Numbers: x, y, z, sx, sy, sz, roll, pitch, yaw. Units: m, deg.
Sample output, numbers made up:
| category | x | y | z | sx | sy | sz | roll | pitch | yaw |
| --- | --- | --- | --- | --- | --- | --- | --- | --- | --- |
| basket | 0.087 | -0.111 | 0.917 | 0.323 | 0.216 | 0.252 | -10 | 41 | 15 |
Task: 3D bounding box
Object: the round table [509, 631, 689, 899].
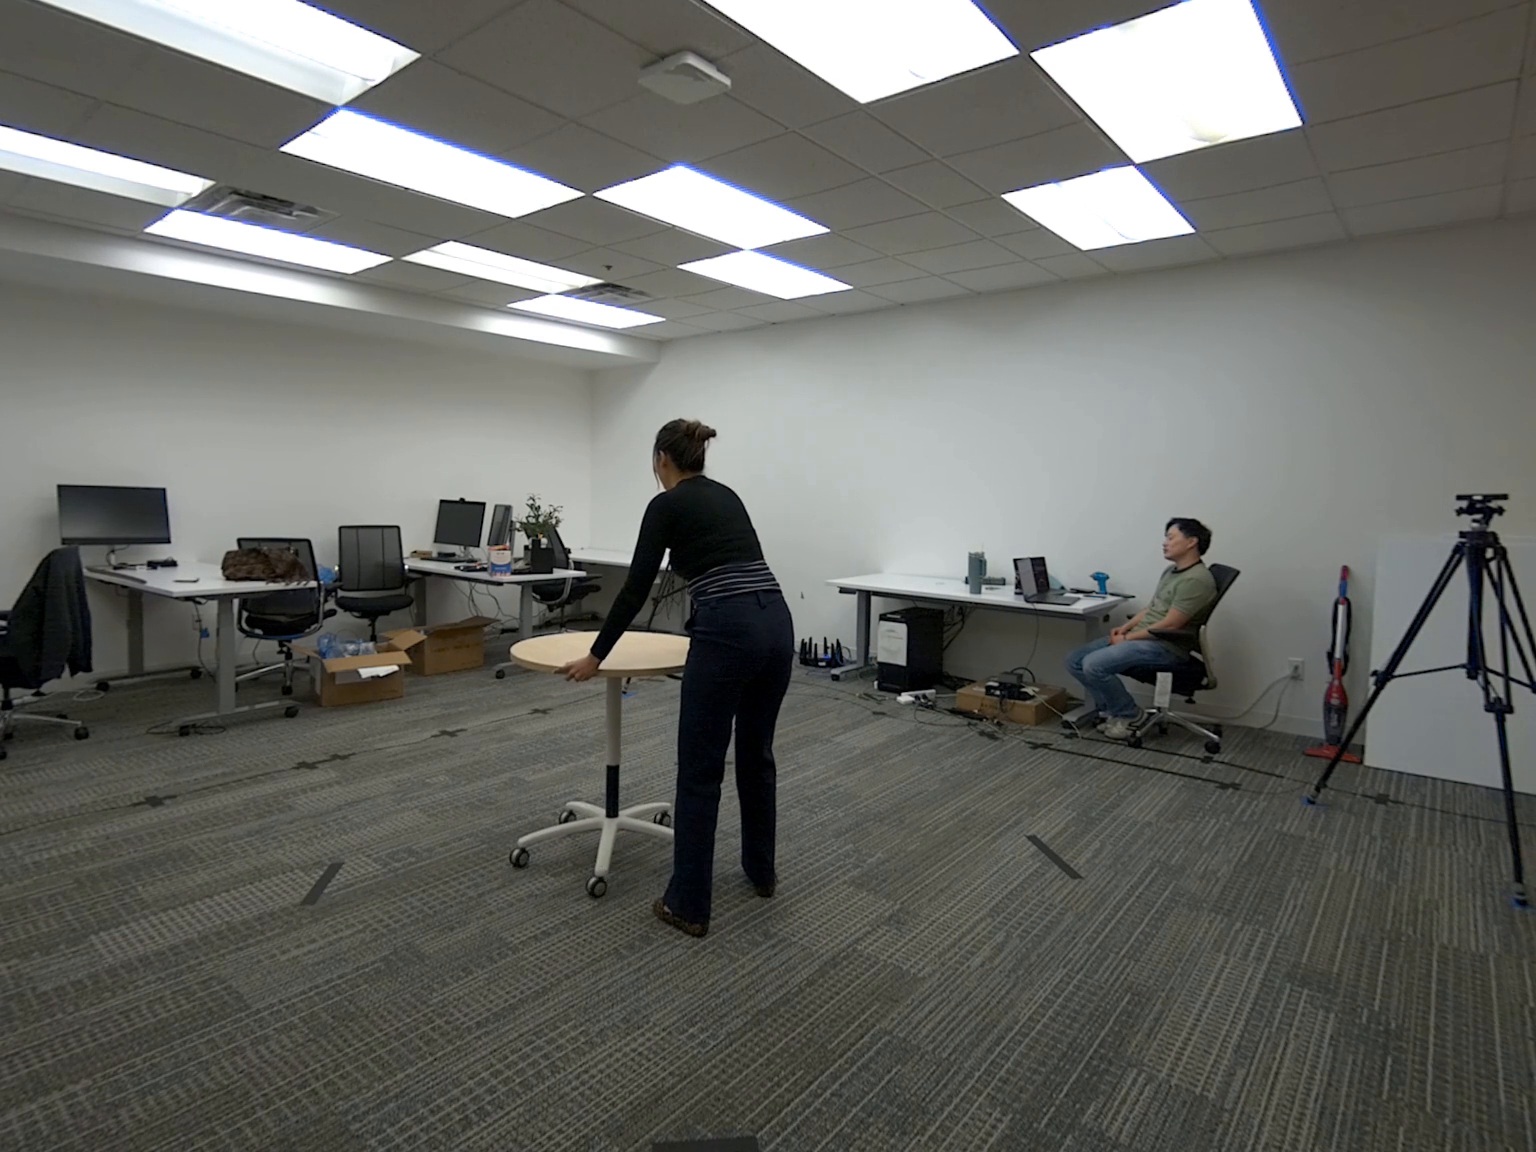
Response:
| category | x | y | z | sx | sy | sz | roll | pitch | yaw |
| --- | --- | --- | --- | --- | --- | --- | --- | --- | --- |
| round table | -0.596 | 0.662 | 3.207 | 0.763 | 0.792 | 0.767 | 1 | 4 | -2 |
